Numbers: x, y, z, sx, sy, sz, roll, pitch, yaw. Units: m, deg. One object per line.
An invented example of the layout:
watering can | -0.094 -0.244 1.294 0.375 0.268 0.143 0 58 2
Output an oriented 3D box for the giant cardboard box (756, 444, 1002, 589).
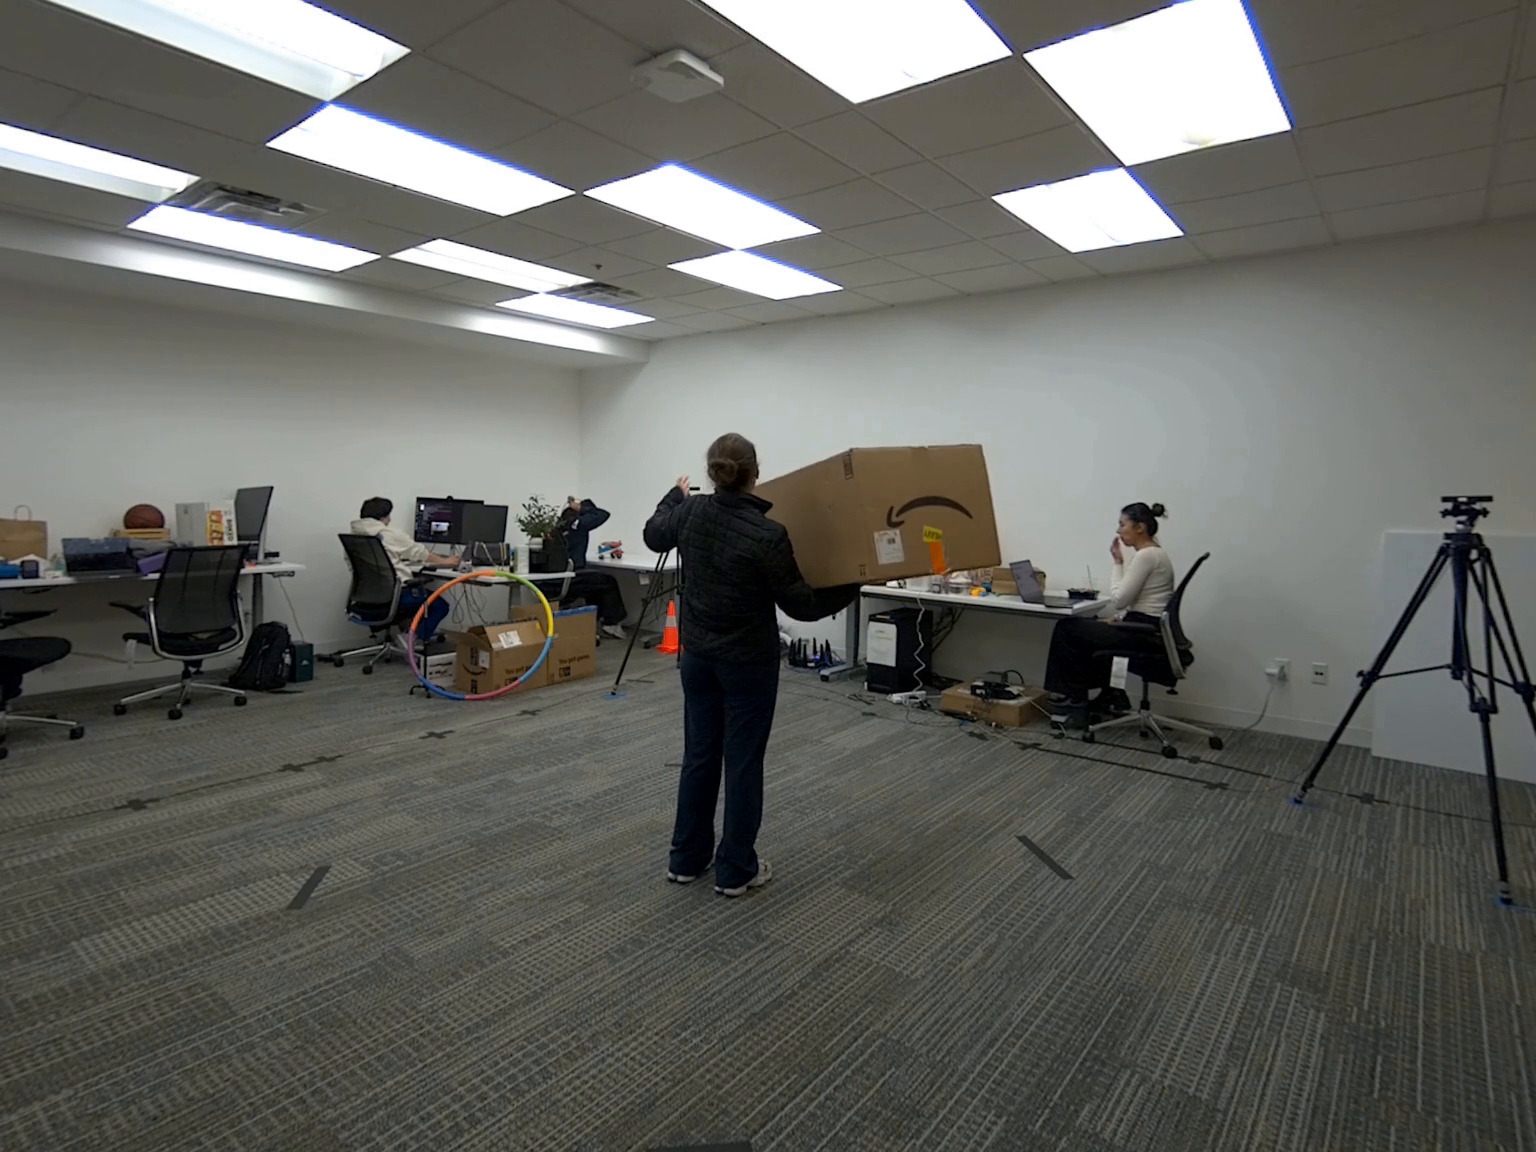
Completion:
giant cardboard box | 0.279 -0.169 3.239 0.563 0.428 1.046 -6 -3 -30
